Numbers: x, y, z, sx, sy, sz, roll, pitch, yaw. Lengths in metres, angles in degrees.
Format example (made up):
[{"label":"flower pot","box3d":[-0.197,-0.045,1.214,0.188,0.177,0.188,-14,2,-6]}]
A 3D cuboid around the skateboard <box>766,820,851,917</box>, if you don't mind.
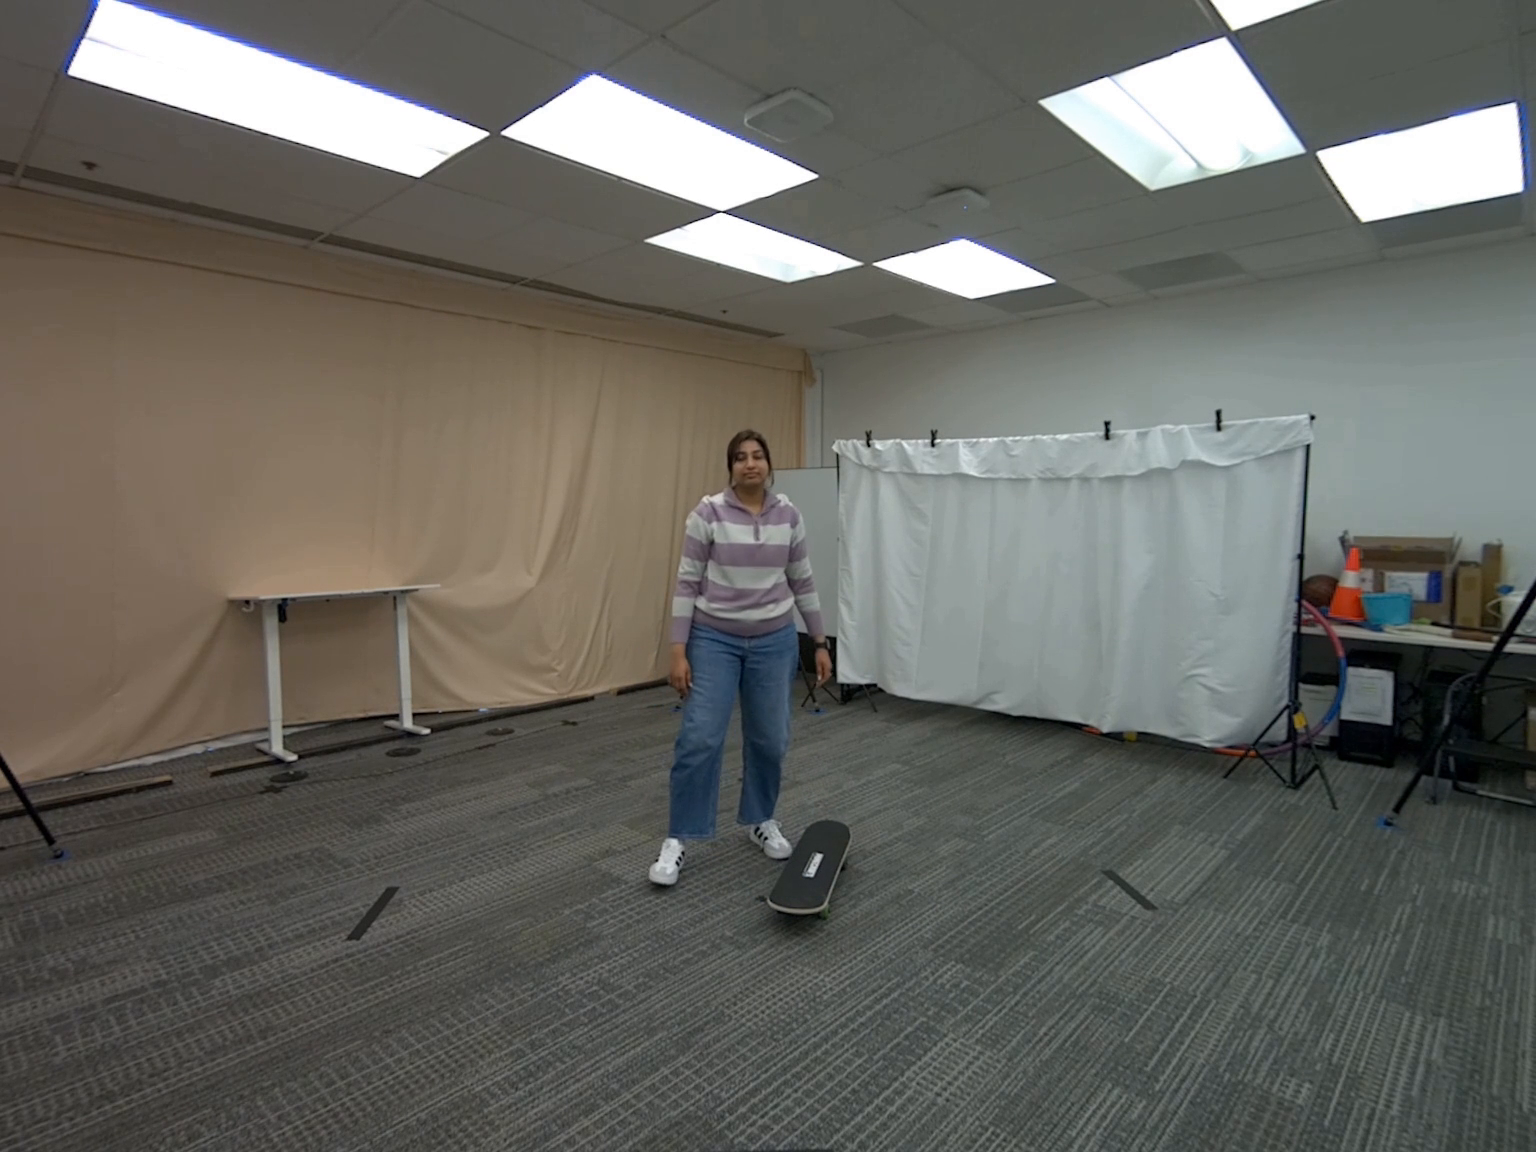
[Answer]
[{"label":"skateboard","box3d":[0.172,1.080,3.053,0.196,0.110,0.775,1,5,14]}]
